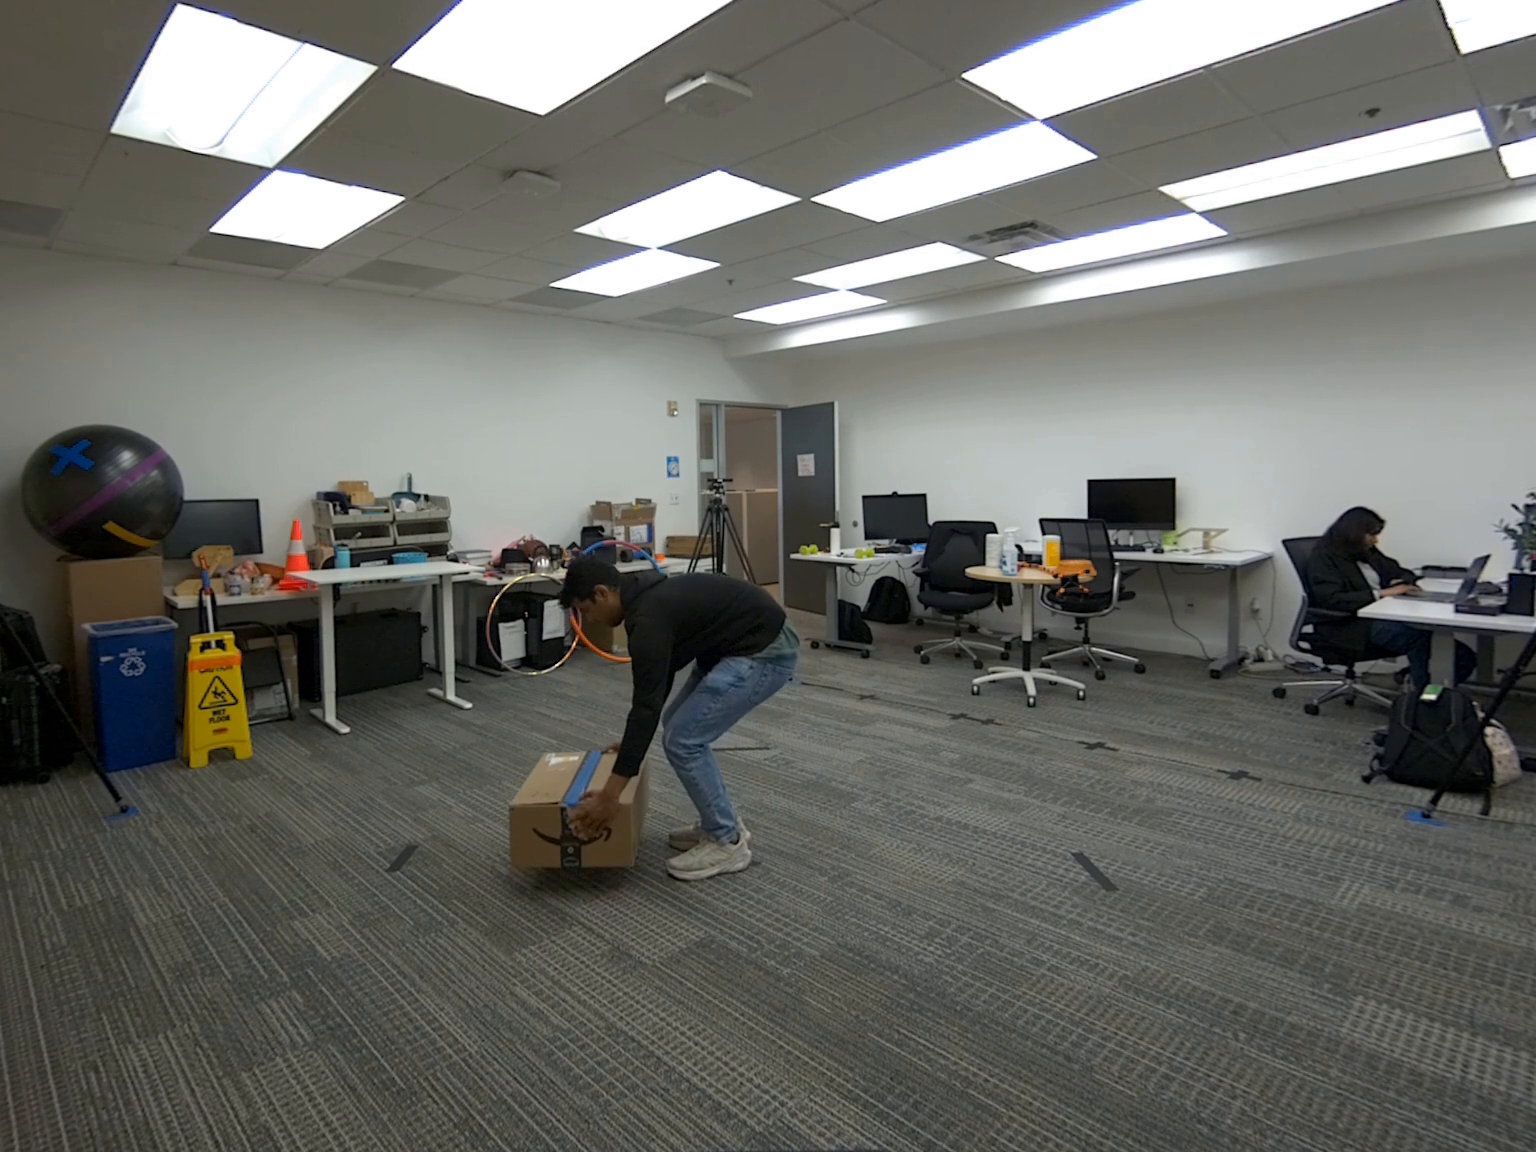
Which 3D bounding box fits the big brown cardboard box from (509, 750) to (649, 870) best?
[{"bbox_3d":[-0.669,0.826,3.135,0.417,0.232,0.593,-2,7,-2],"label":"big brown cardboard box"}]
